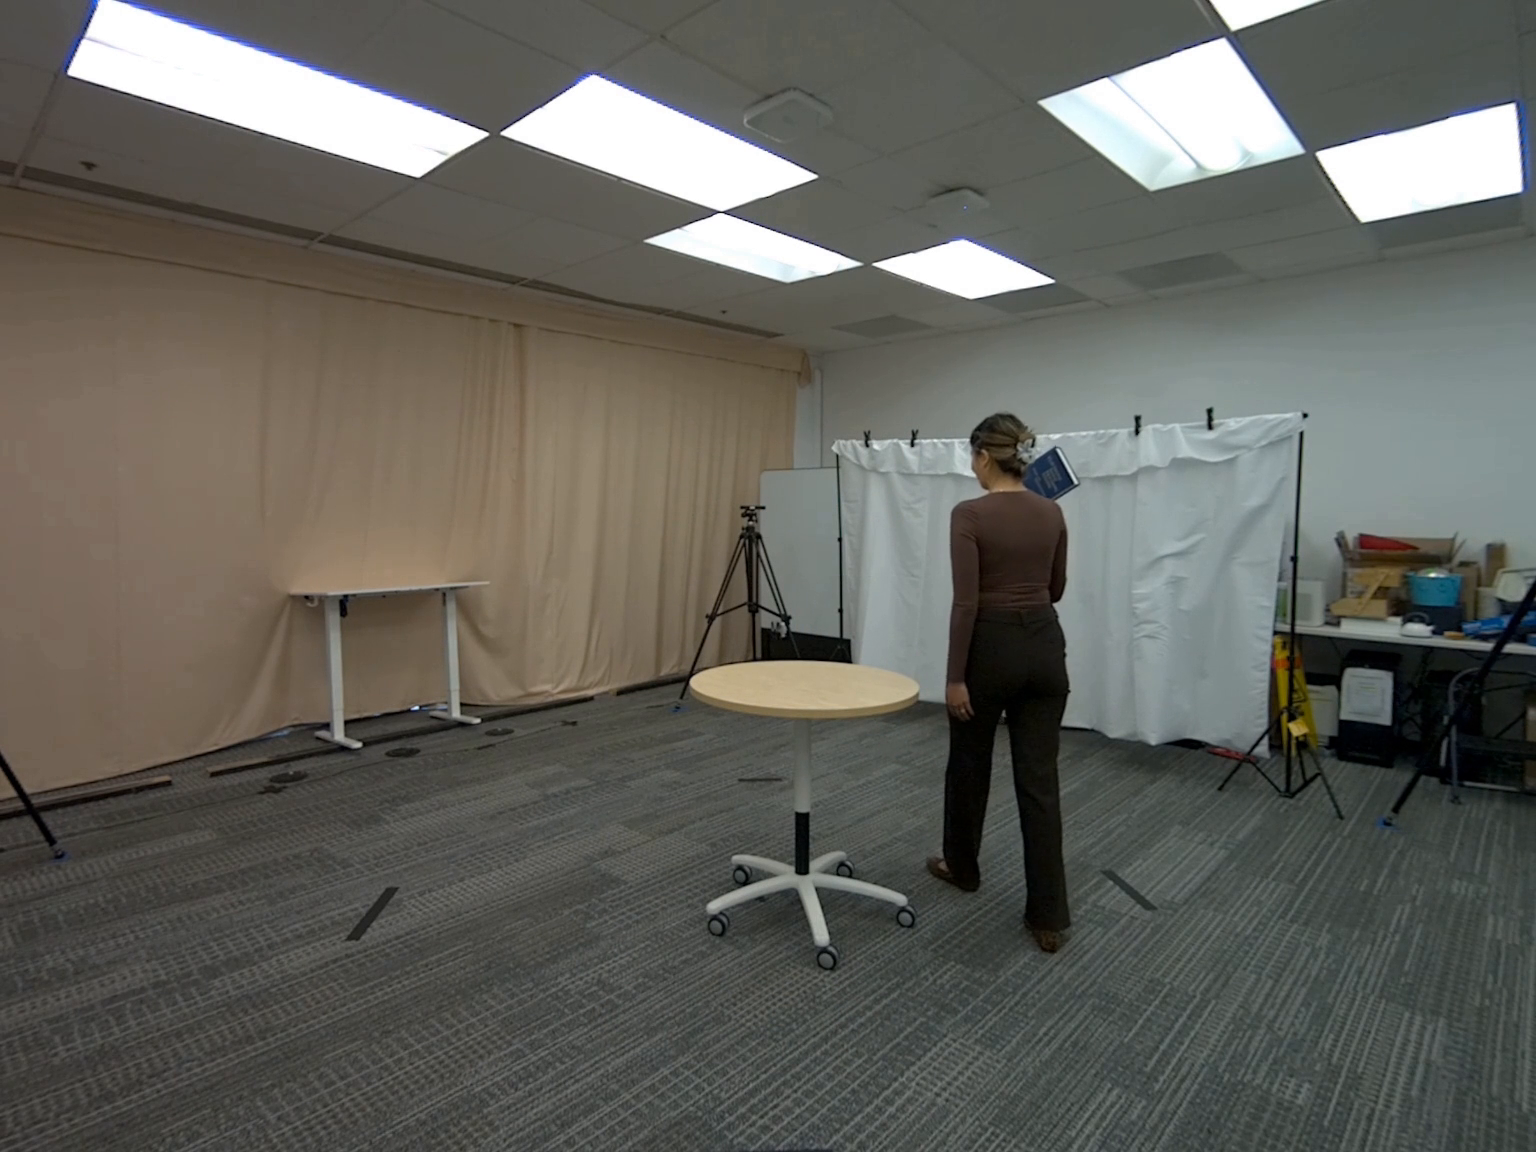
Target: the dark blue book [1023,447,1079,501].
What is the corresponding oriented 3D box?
[{"bbox_3d":[0.996,-0.340,3.079,0.044,0.167,0.248,6,-34,-43],"label":"dark blue book"}]
